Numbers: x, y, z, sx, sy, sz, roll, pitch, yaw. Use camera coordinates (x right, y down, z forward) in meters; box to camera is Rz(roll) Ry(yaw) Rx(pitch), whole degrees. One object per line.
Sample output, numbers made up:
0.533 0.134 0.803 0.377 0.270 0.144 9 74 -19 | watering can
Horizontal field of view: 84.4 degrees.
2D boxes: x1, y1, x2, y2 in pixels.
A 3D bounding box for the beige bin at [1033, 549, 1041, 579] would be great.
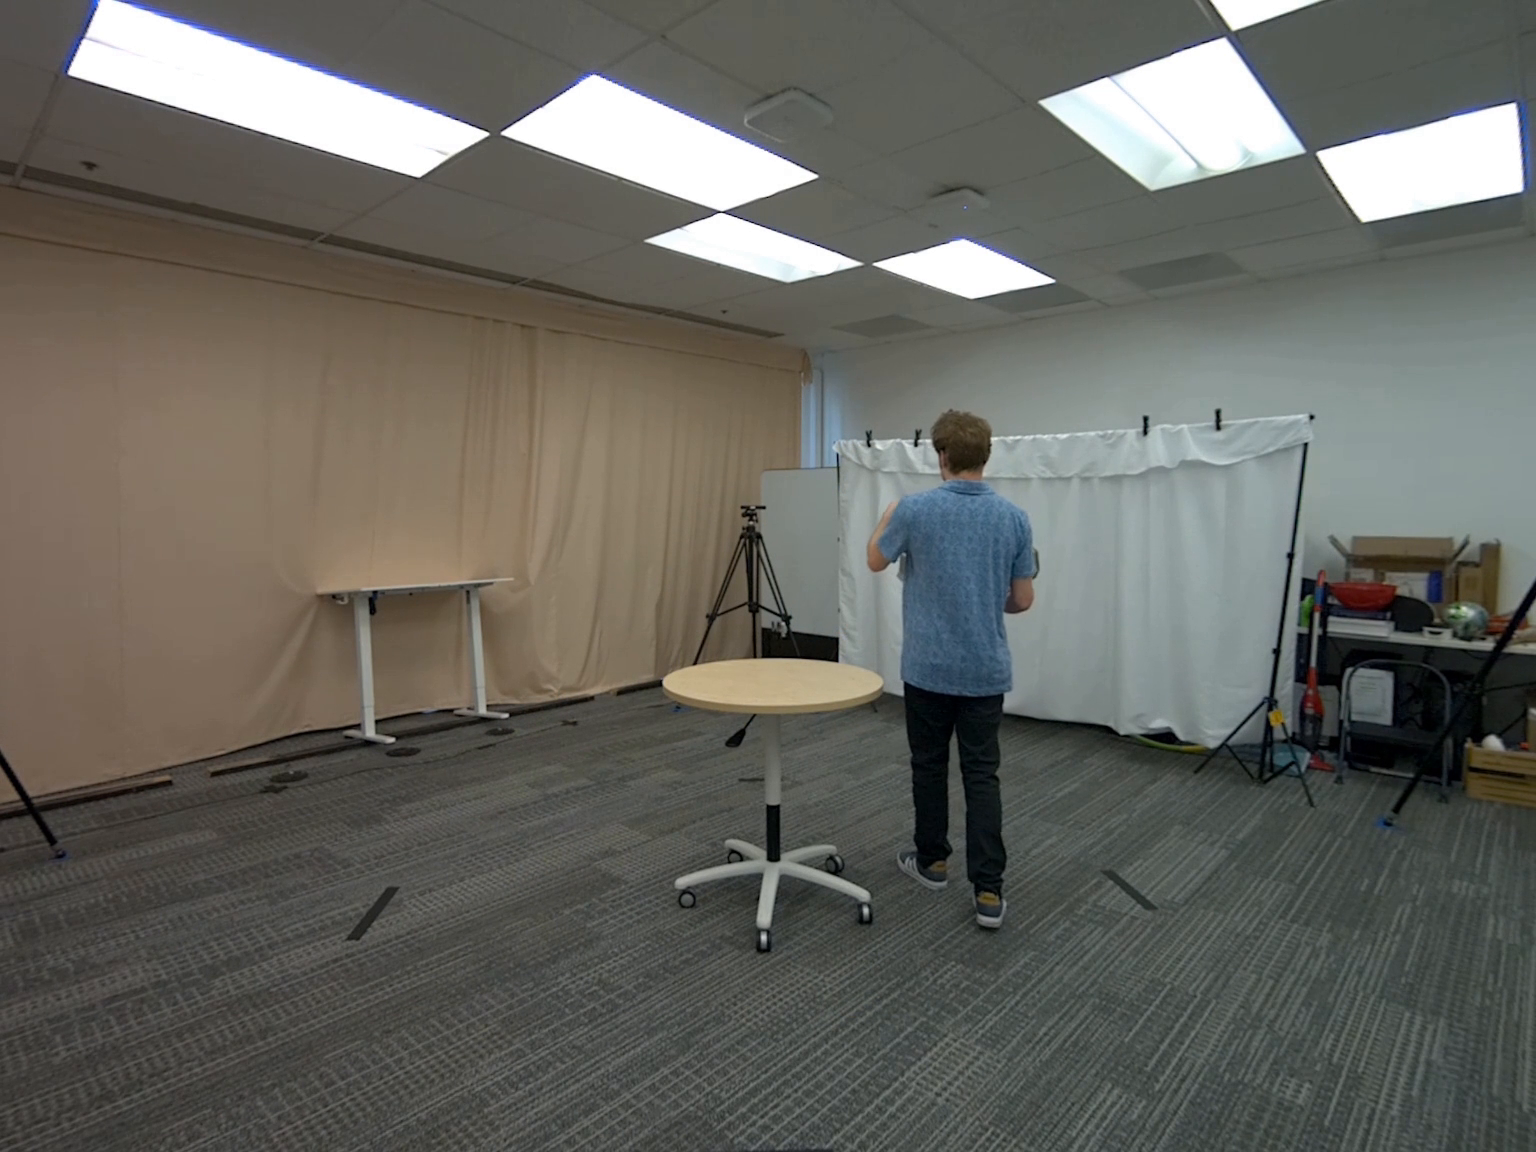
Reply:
0.804 -0.045 3.359 0.418 0.184 0.390 -32 56 -16 | beige bin
